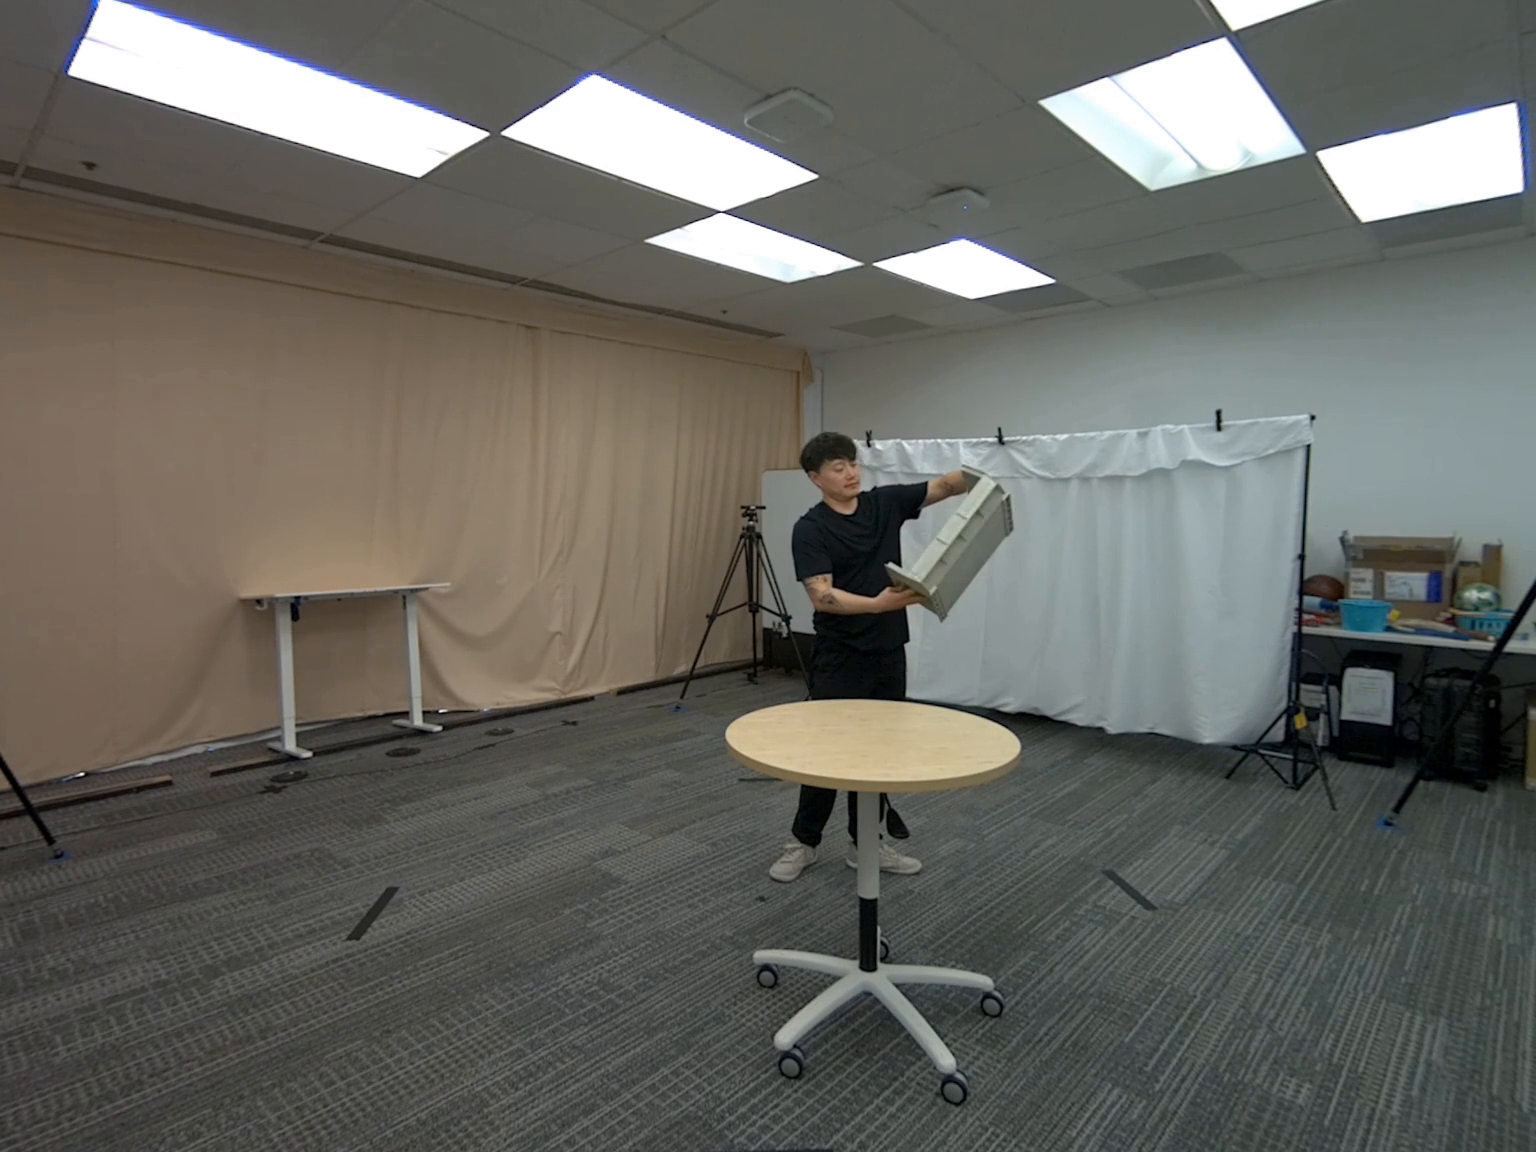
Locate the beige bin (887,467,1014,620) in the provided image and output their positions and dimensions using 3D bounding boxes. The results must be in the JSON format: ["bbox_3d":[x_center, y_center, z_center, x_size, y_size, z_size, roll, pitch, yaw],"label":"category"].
[{"bbox_3d":[0.609,-0.096,2.791,0.195,0.422,0.365,39,0,28],"label":"beige bin"}]
